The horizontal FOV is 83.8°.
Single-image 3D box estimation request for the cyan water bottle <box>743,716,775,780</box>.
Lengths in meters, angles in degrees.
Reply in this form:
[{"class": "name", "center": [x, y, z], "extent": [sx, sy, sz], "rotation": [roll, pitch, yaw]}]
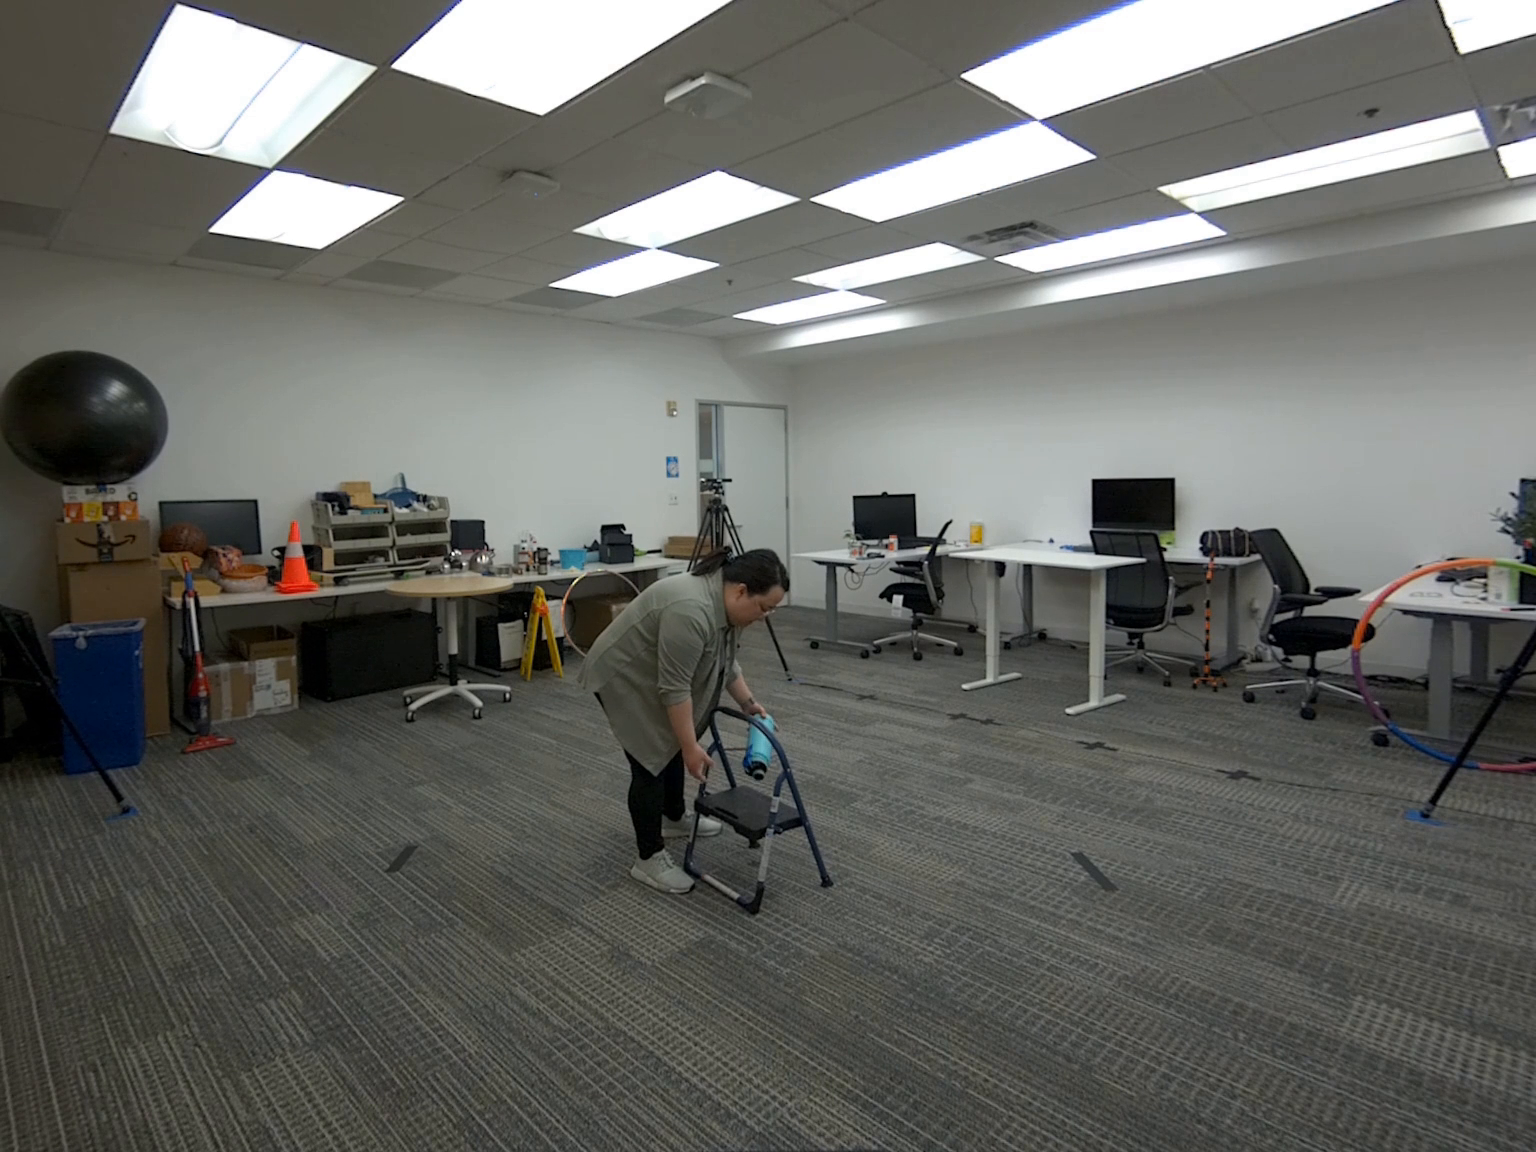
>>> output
[{"class": "cyan water bottle", "center": [-0.043, 0.611, 3.041], "extent": [0.093, 0.090, 0.287], "rotation": [-1, 29, 9]}]
